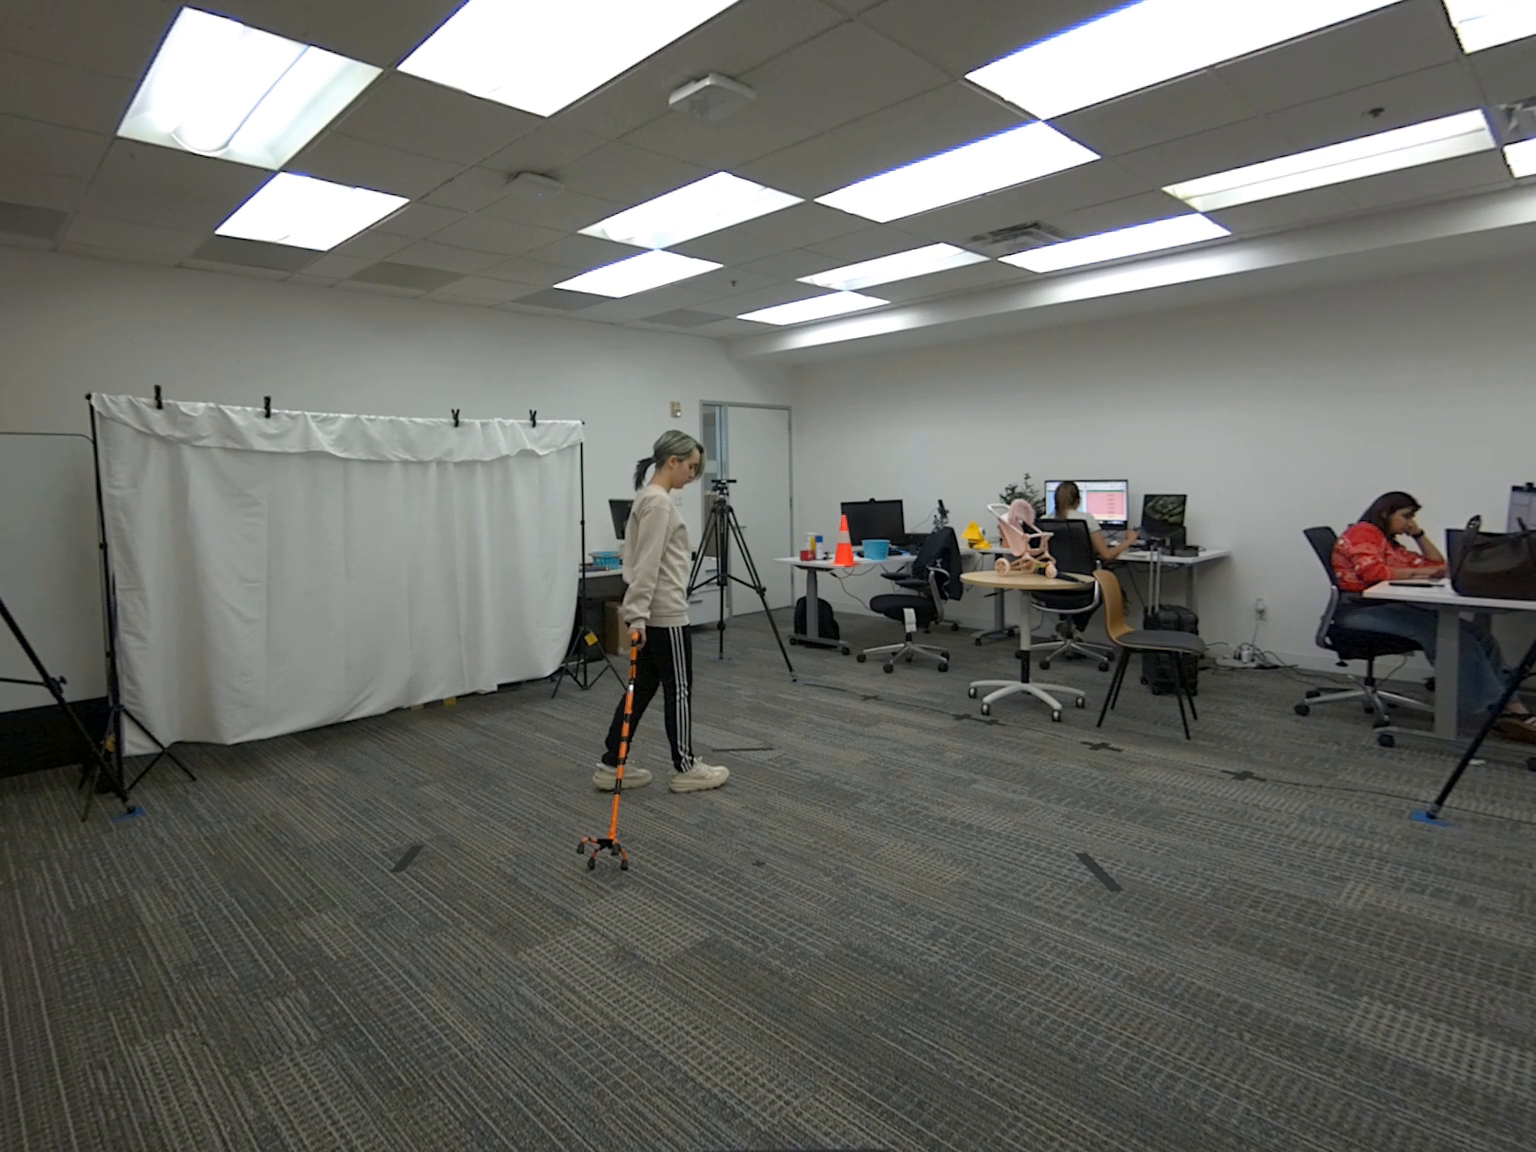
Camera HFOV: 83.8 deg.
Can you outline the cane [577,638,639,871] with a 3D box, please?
[{"bbox_3d":[-0.572,0.632,3.271,0.152,0.930,0.200,-1,-35,3],"label":"cane"}]
